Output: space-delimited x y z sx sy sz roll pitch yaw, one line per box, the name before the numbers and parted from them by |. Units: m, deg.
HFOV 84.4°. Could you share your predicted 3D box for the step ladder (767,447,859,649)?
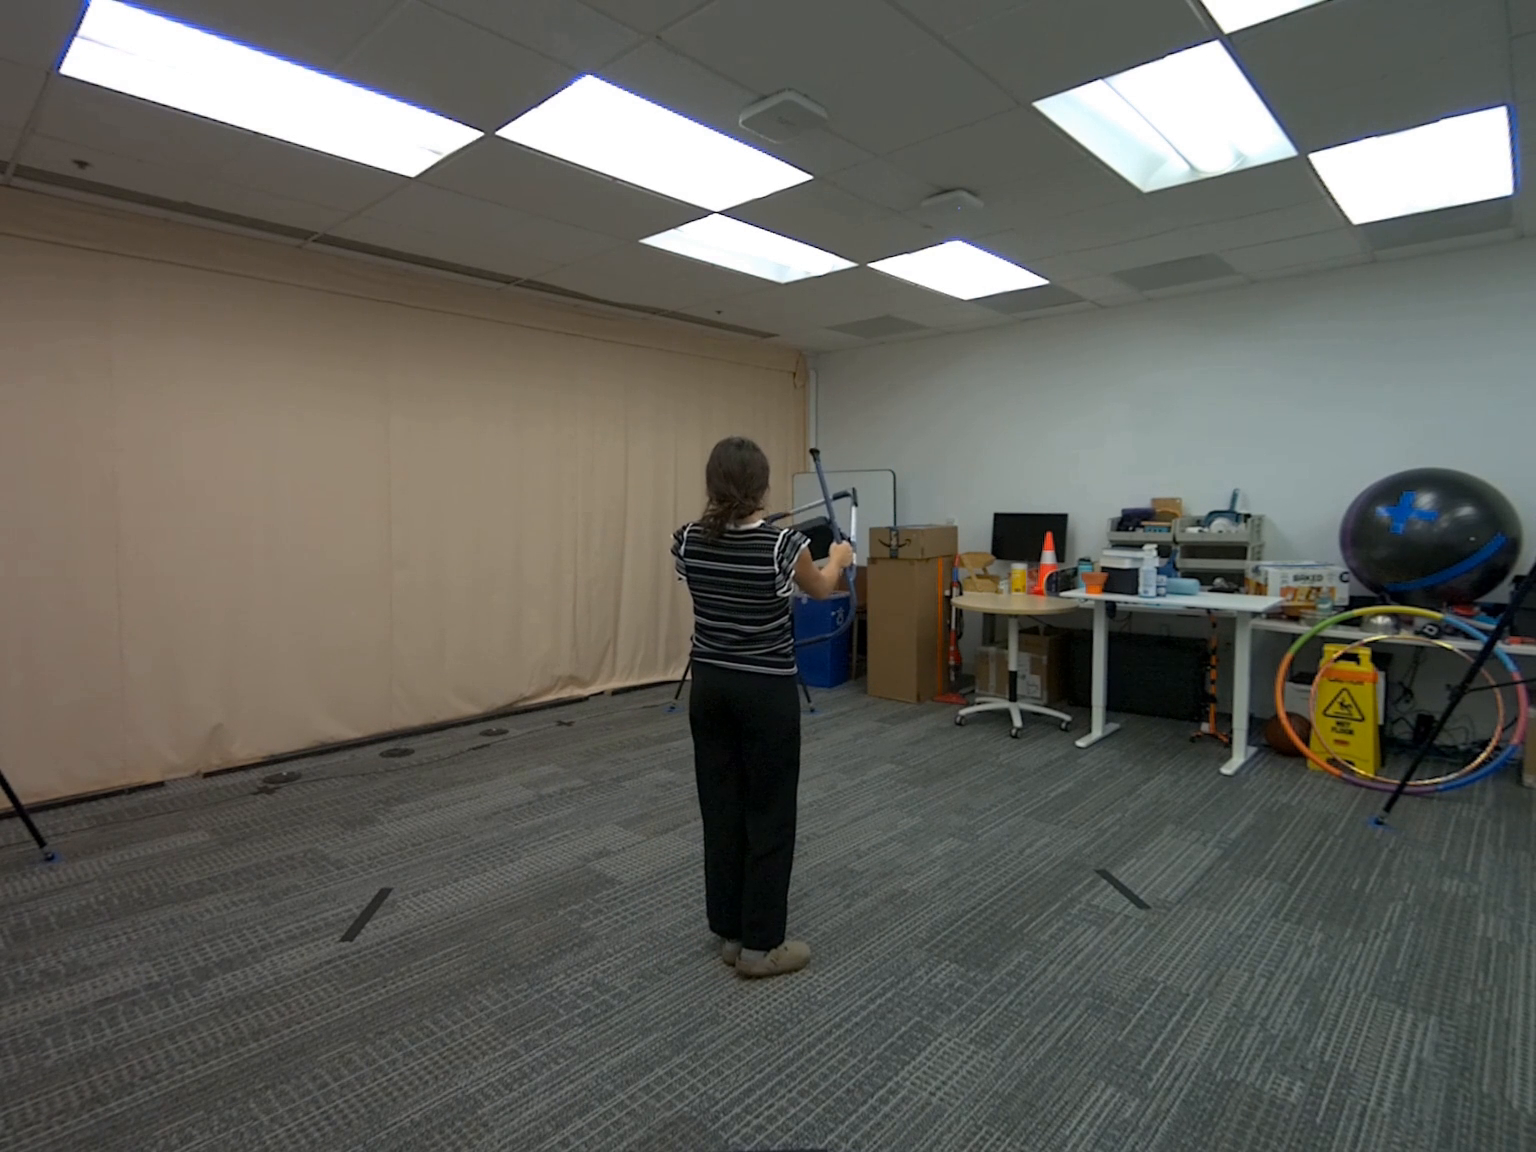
step ladder | 0.089 -0.060 3.036 0.439 0.616 0.336 -19 -31 28
